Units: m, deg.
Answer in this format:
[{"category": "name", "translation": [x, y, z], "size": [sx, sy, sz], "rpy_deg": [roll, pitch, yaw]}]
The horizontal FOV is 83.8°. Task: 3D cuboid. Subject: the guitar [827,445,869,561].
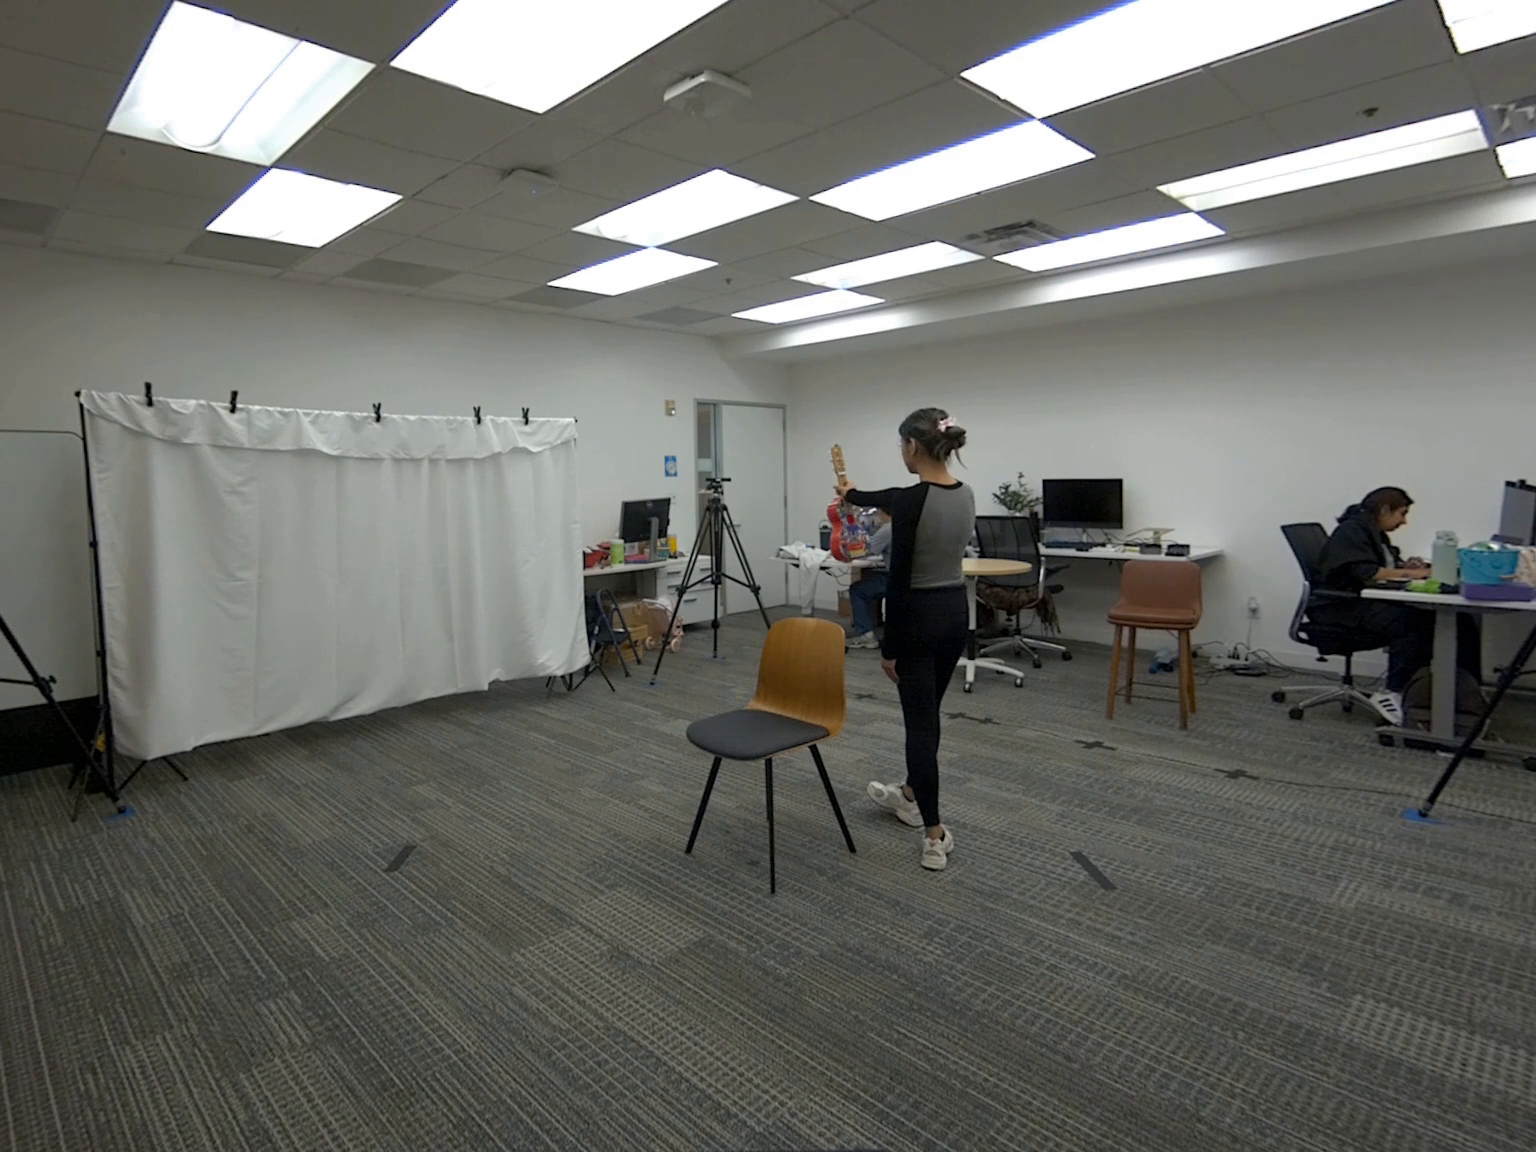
[{"category": "guitar", "translation": [0.348, -0.309, 3.693], "size": [0.187, 0.502, 0.072], "rpy_deg": [3, -10, -36]}]
